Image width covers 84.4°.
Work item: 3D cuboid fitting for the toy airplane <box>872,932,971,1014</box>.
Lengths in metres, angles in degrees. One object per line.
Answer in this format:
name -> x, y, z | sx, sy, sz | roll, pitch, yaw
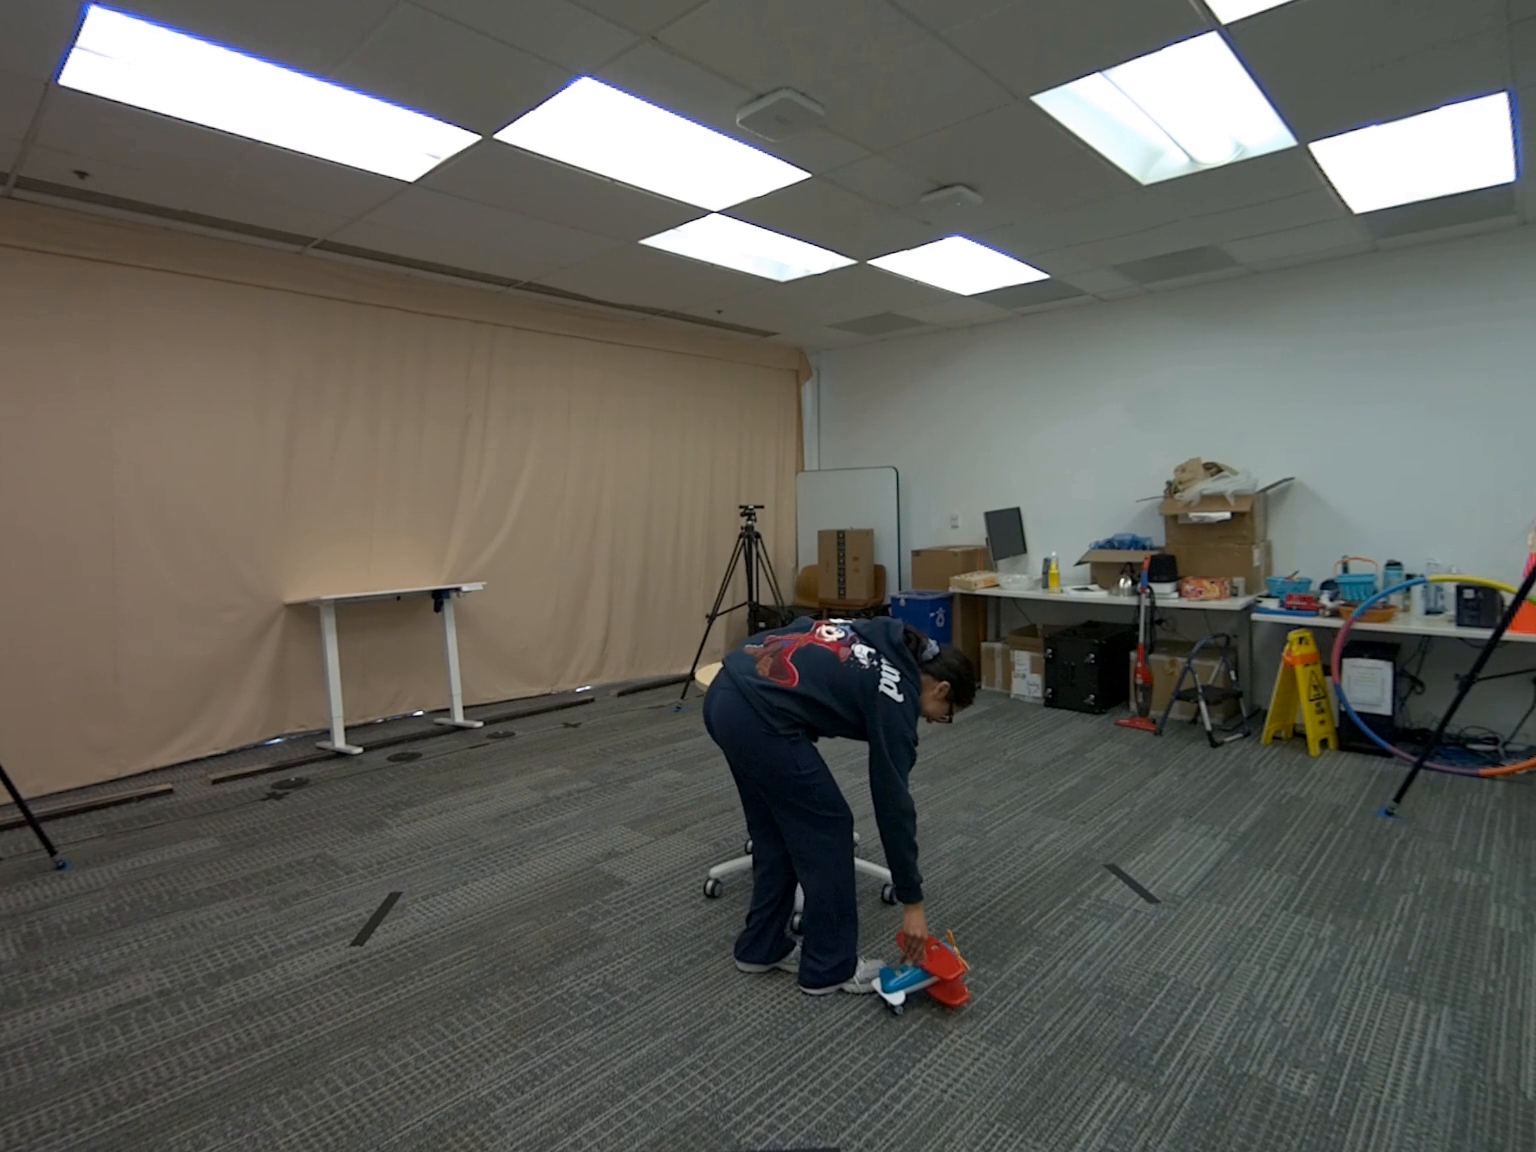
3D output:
toy airplane -> 0.440, 1.121, 2.321 | 0.259, 0.156, 0.251 | 1, 4, 37
